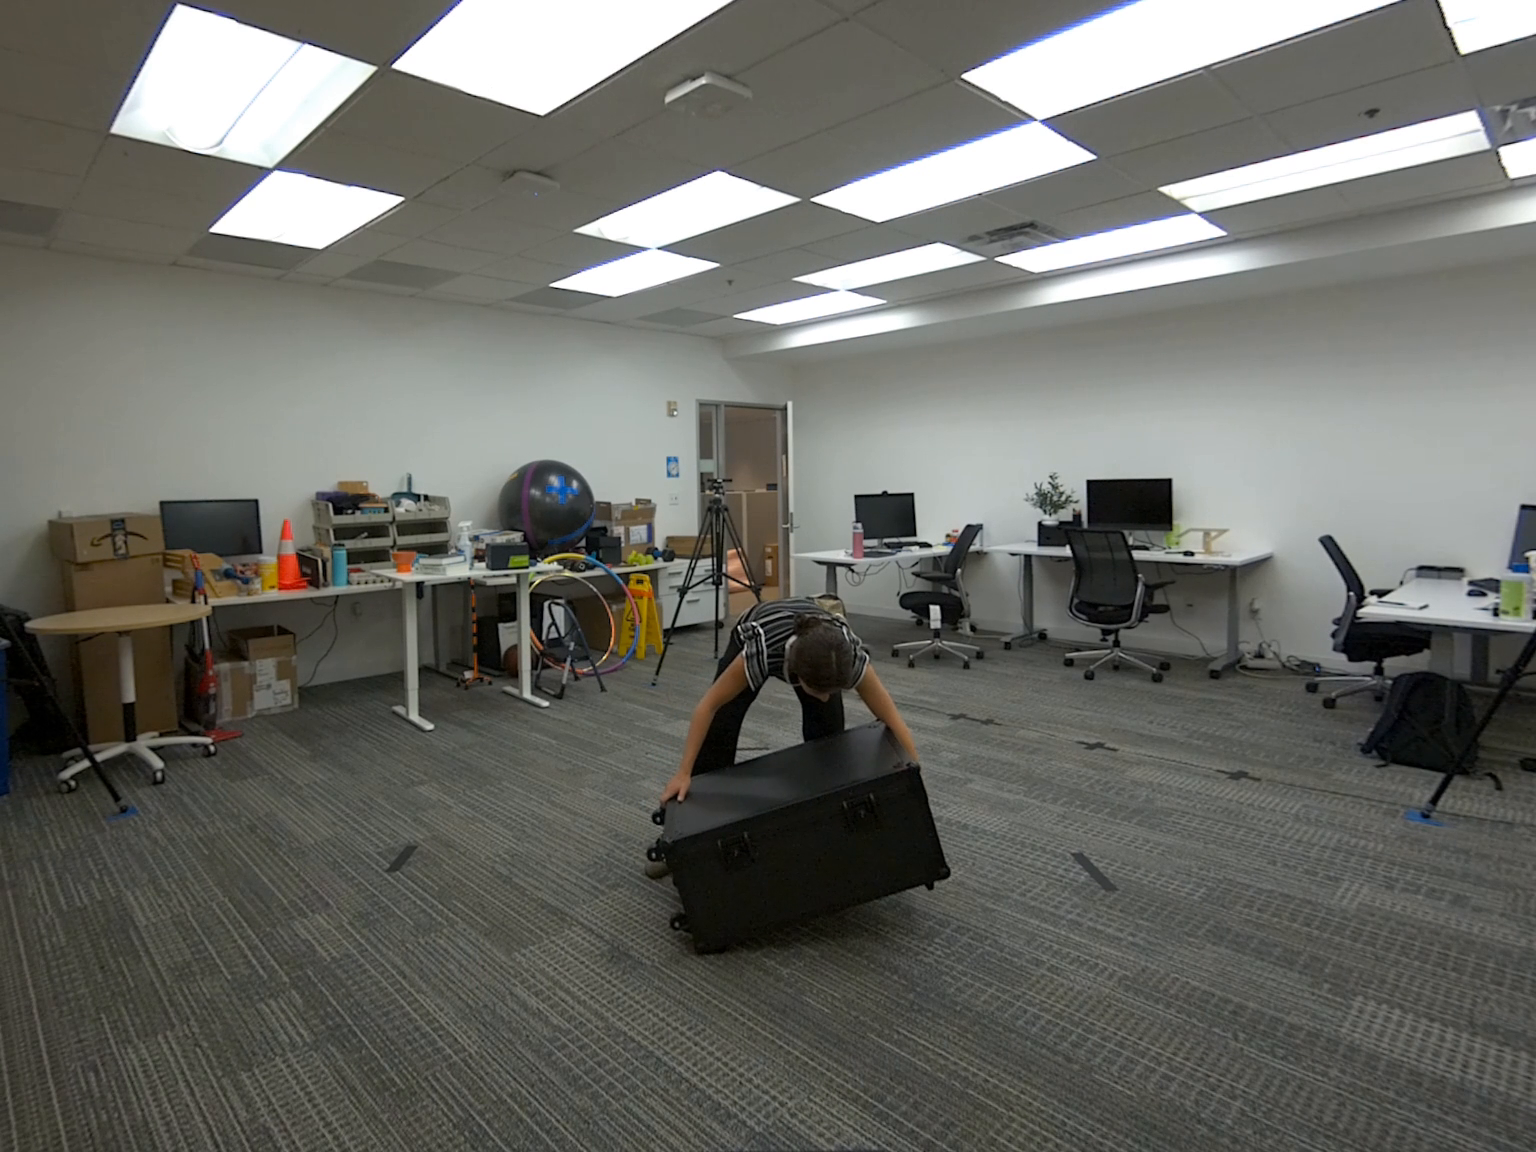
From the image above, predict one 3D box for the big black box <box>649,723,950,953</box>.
[{"bbox_3d":[0.071,0.825,2.727,0.861,0.393,0.526,-17,8,-1],"label":"big black box"}]
